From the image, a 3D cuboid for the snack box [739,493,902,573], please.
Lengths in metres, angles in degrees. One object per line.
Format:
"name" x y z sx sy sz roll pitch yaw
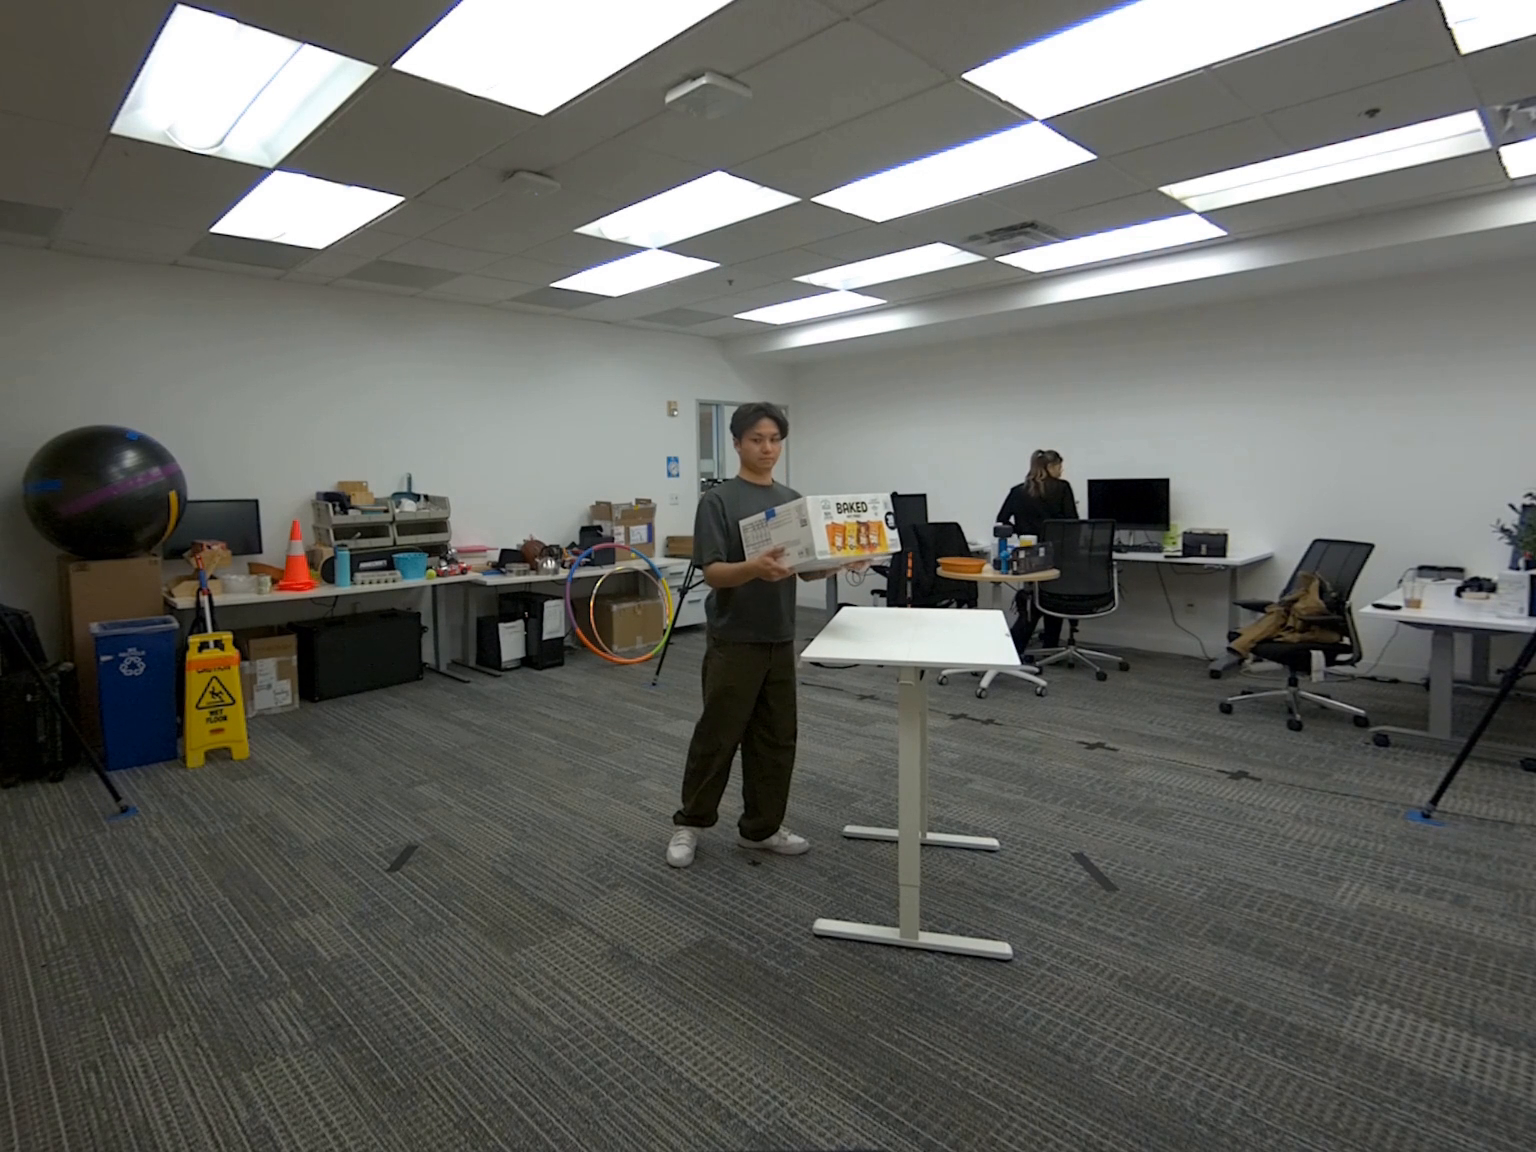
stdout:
"snack box" 0.173 -0.135 2.902 0.395 0.207 0.347 -6 -7 -40
